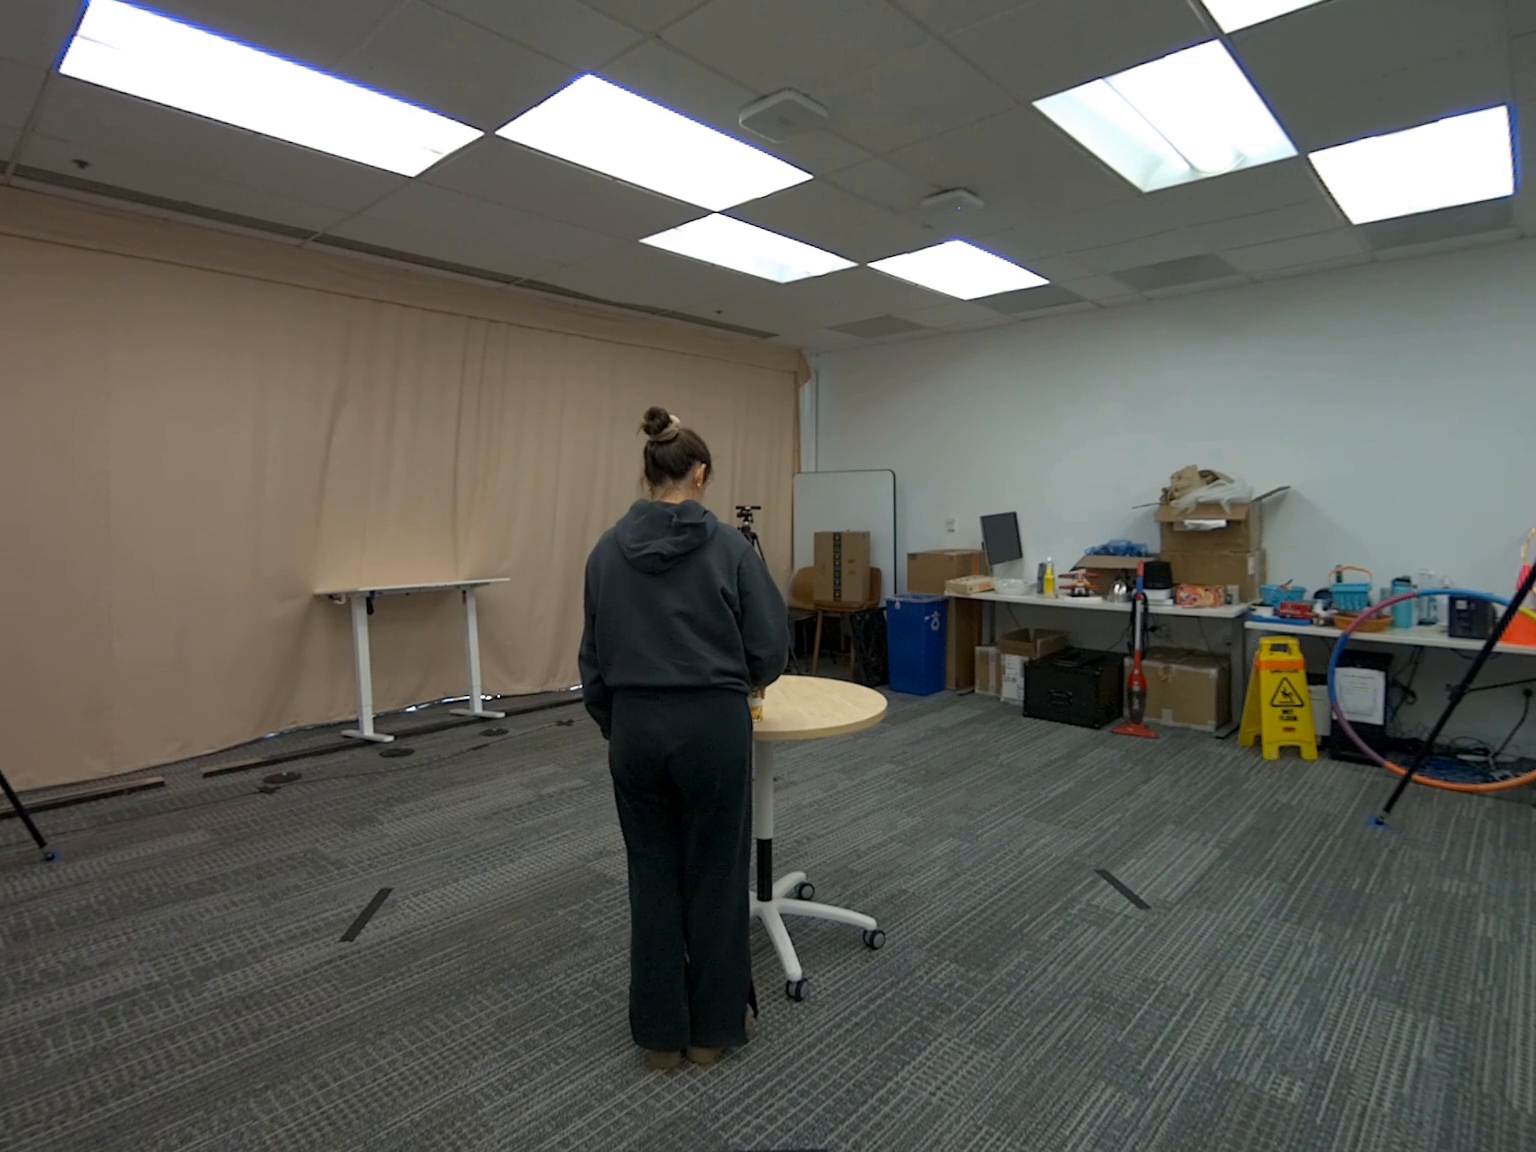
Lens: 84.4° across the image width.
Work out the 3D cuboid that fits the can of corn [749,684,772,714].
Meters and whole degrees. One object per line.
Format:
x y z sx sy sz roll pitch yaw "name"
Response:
-0.032 0.320 2.386 0.074 0.110 0.074 0 6 -2 "can of corn"
